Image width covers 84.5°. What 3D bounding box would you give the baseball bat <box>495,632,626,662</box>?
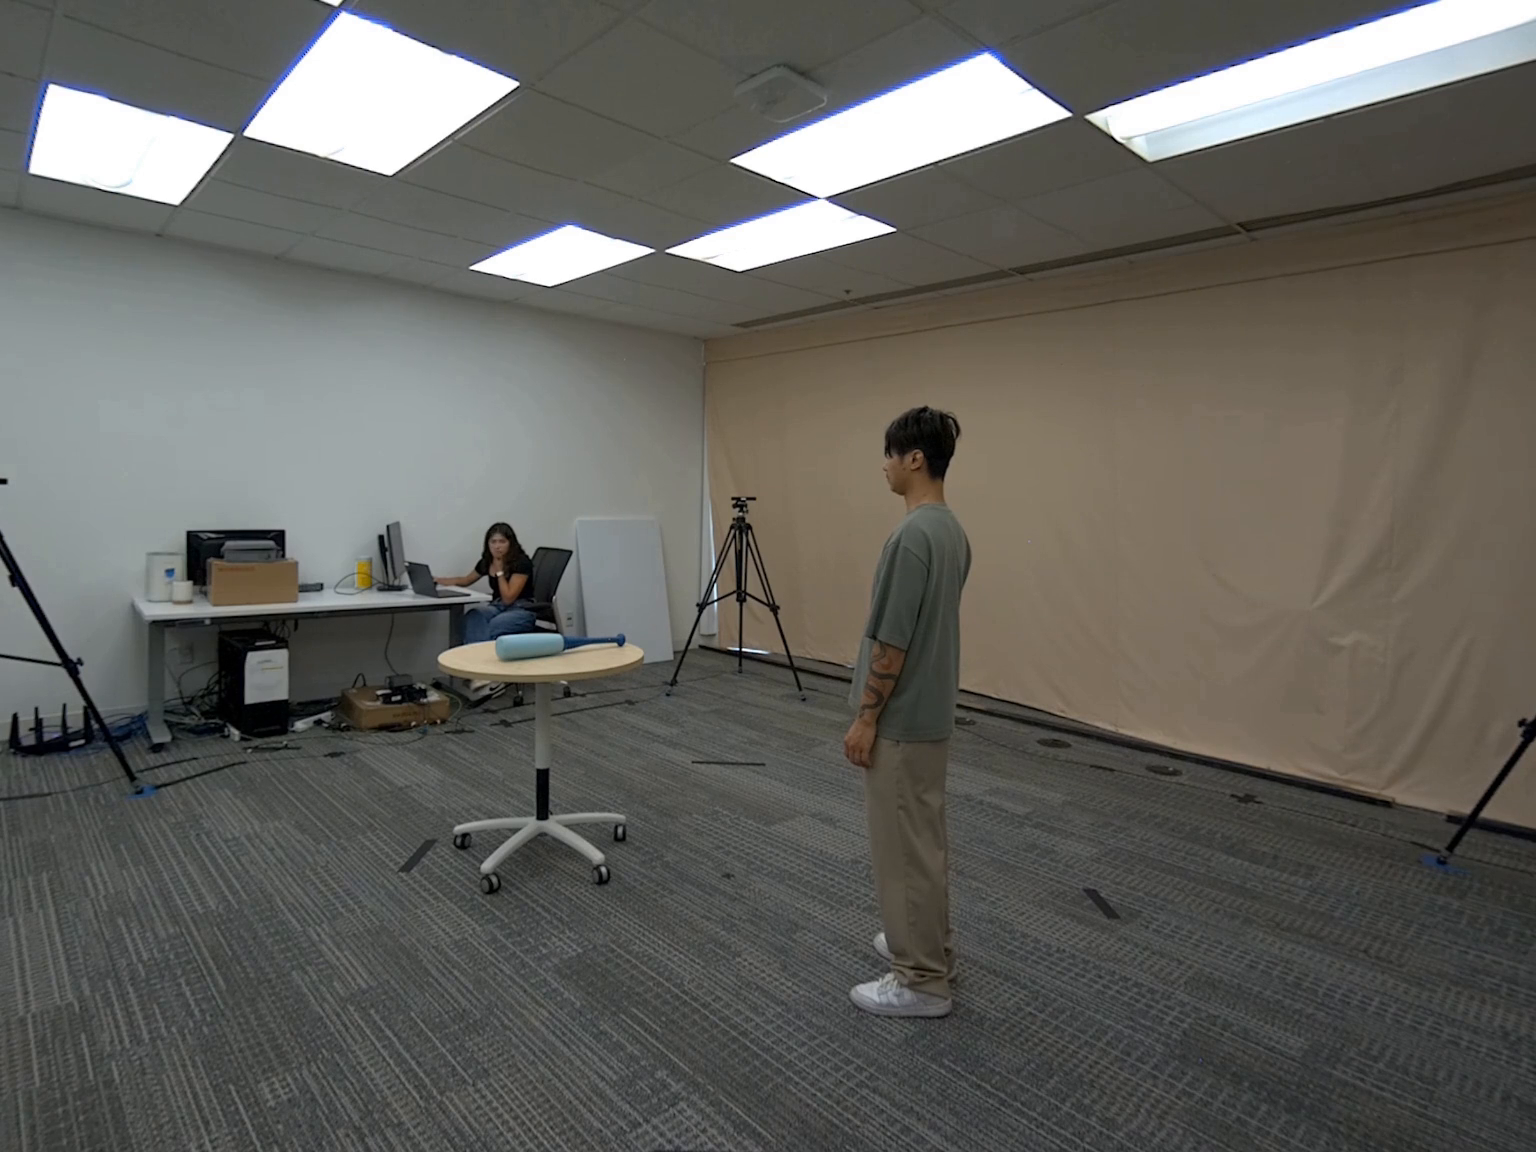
[{"bbox_3d":[-0.786,0.260,3.226,0.530,0.089,0.091,-1,5,-42],"label":"baseball bat"}]
